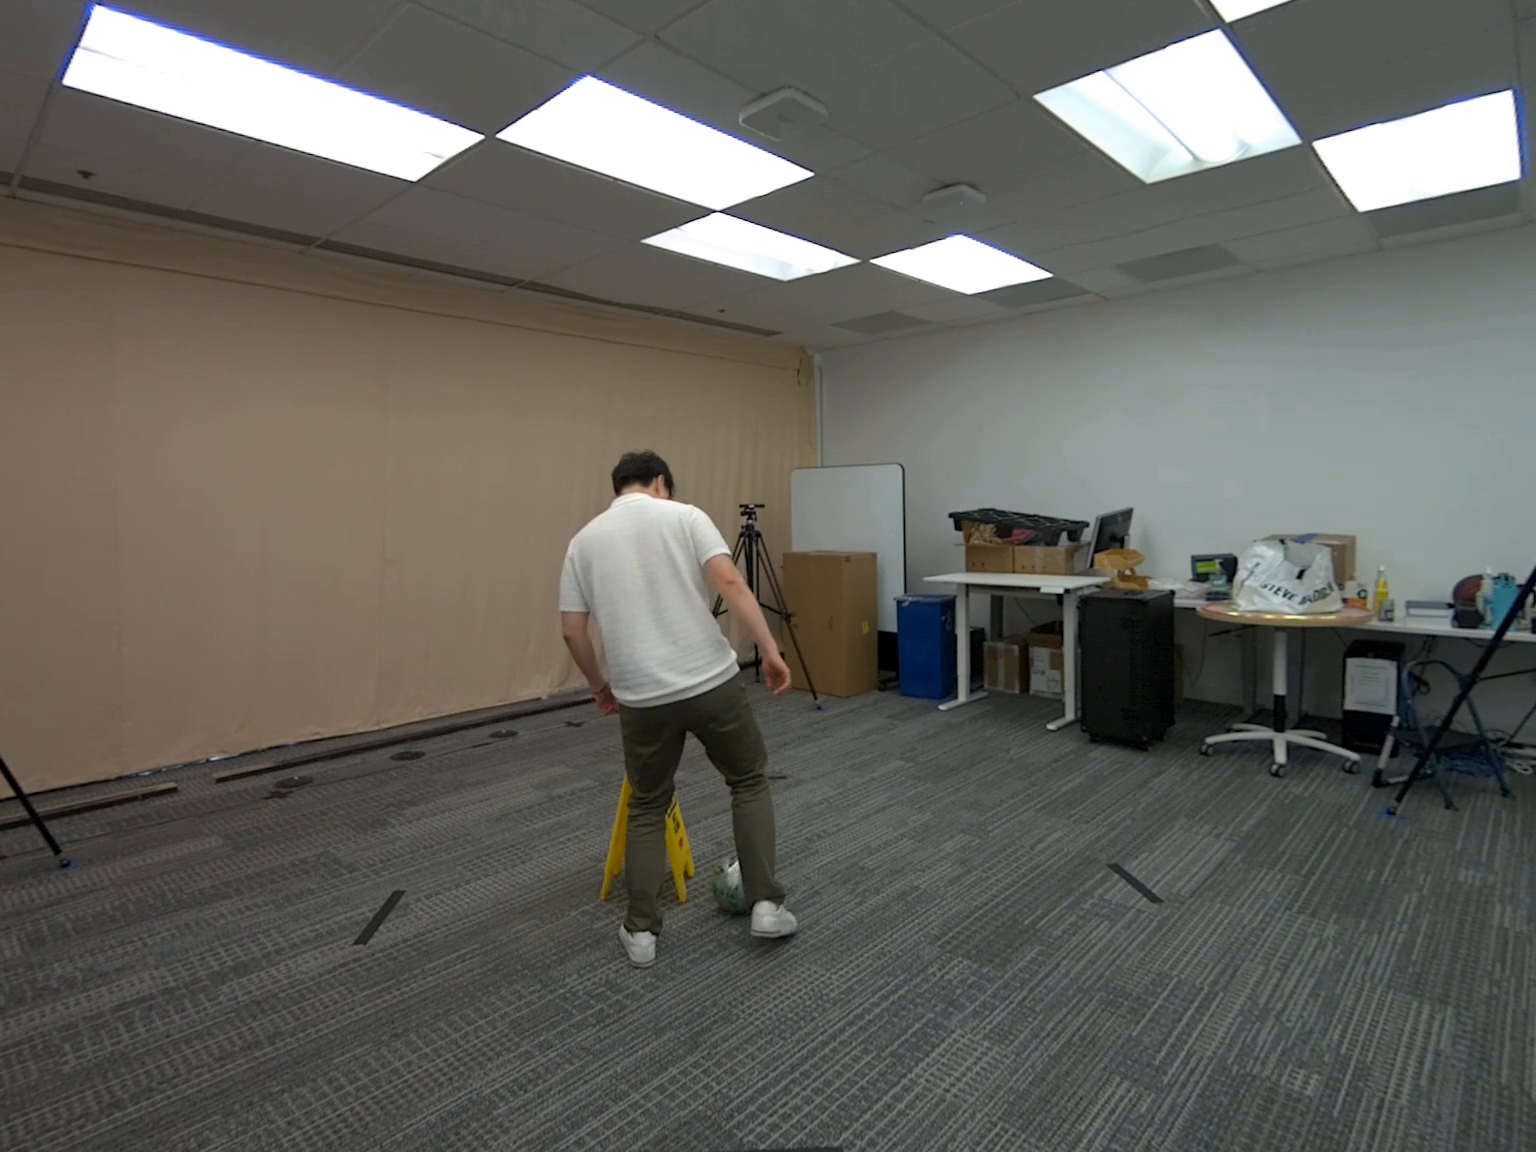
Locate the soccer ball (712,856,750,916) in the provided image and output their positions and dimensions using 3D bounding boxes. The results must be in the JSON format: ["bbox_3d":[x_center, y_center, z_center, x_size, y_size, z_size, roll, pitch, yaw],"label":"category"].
[{"bbox_3d":[-0.095,1.053,2.873,0.187,0.187,0.188,-1,4,-2],"label":"soccer ball"}]
